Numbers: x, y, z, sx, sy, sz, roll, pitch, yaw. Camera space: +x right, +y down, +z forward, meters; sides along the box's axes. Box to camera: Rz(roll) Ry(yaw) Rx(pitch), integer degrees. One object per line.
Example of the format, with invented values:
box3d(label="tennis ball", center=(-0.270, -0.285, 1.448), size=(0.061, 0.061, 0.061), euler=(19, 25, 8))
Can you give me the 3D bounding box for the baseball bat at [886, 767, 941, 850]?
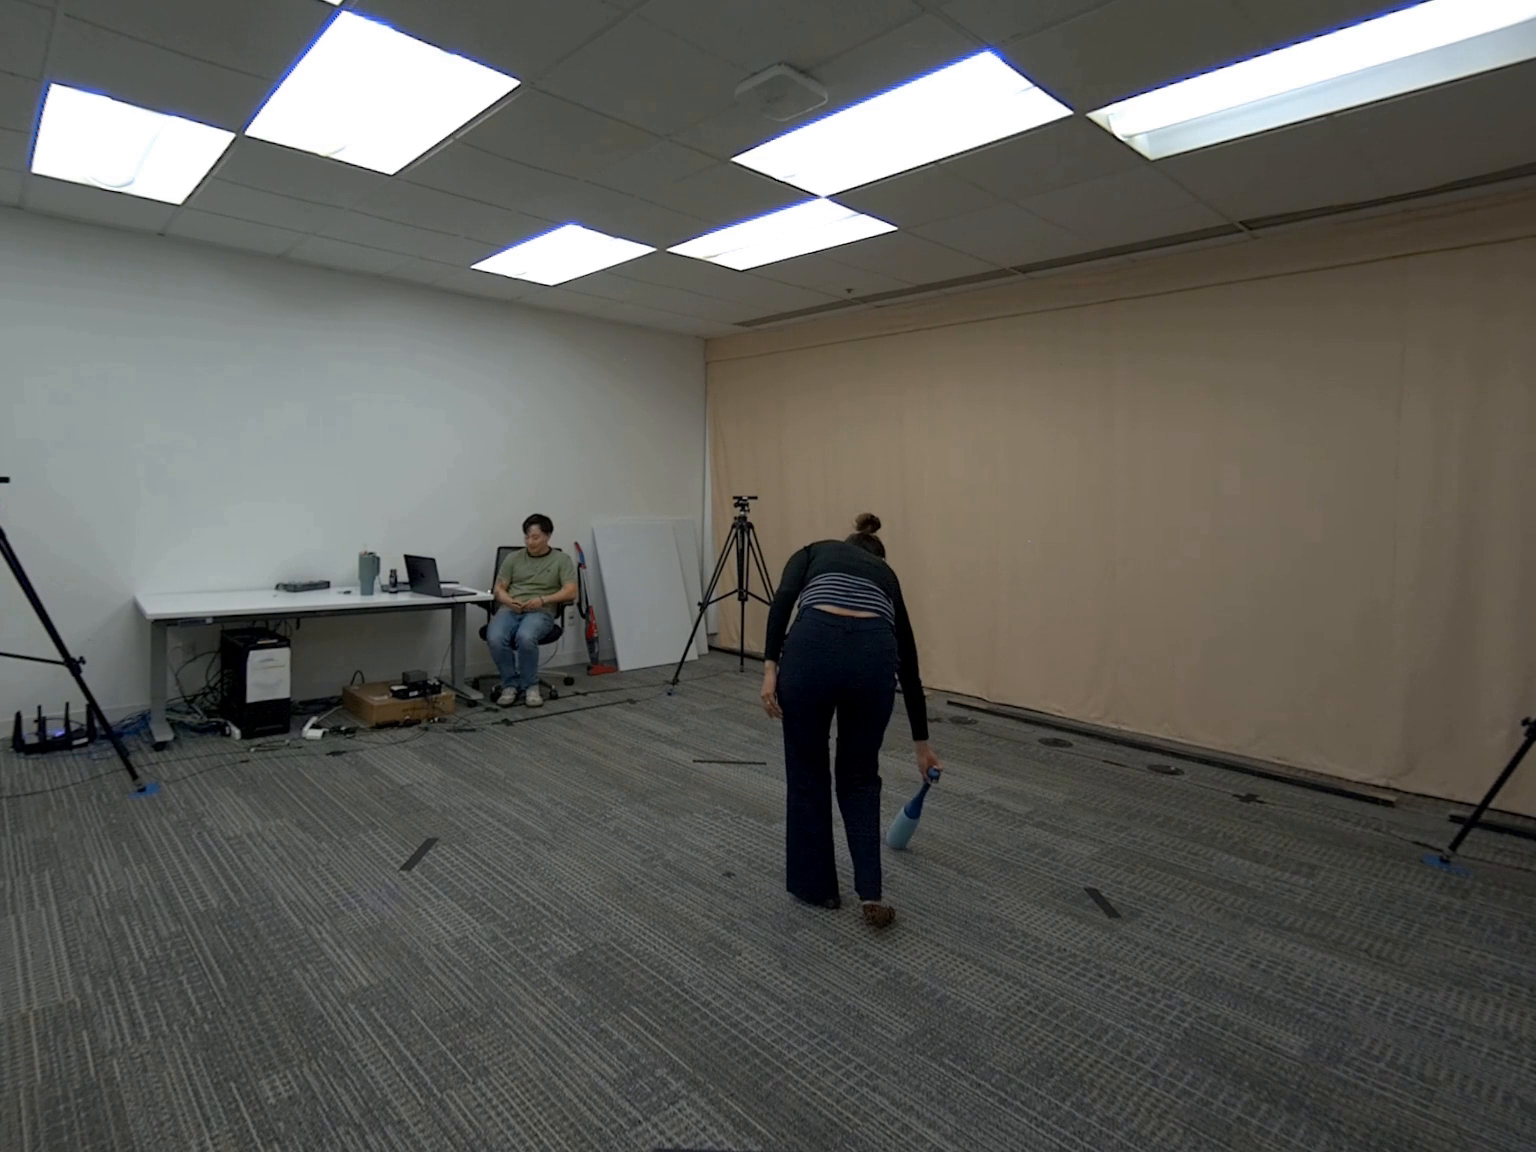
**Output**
box3d(label="baseball bat", center=(0.550, 0.890, 3.212), size=(0.088, 0.534, 0.091), euler=(6, 45, -7))
